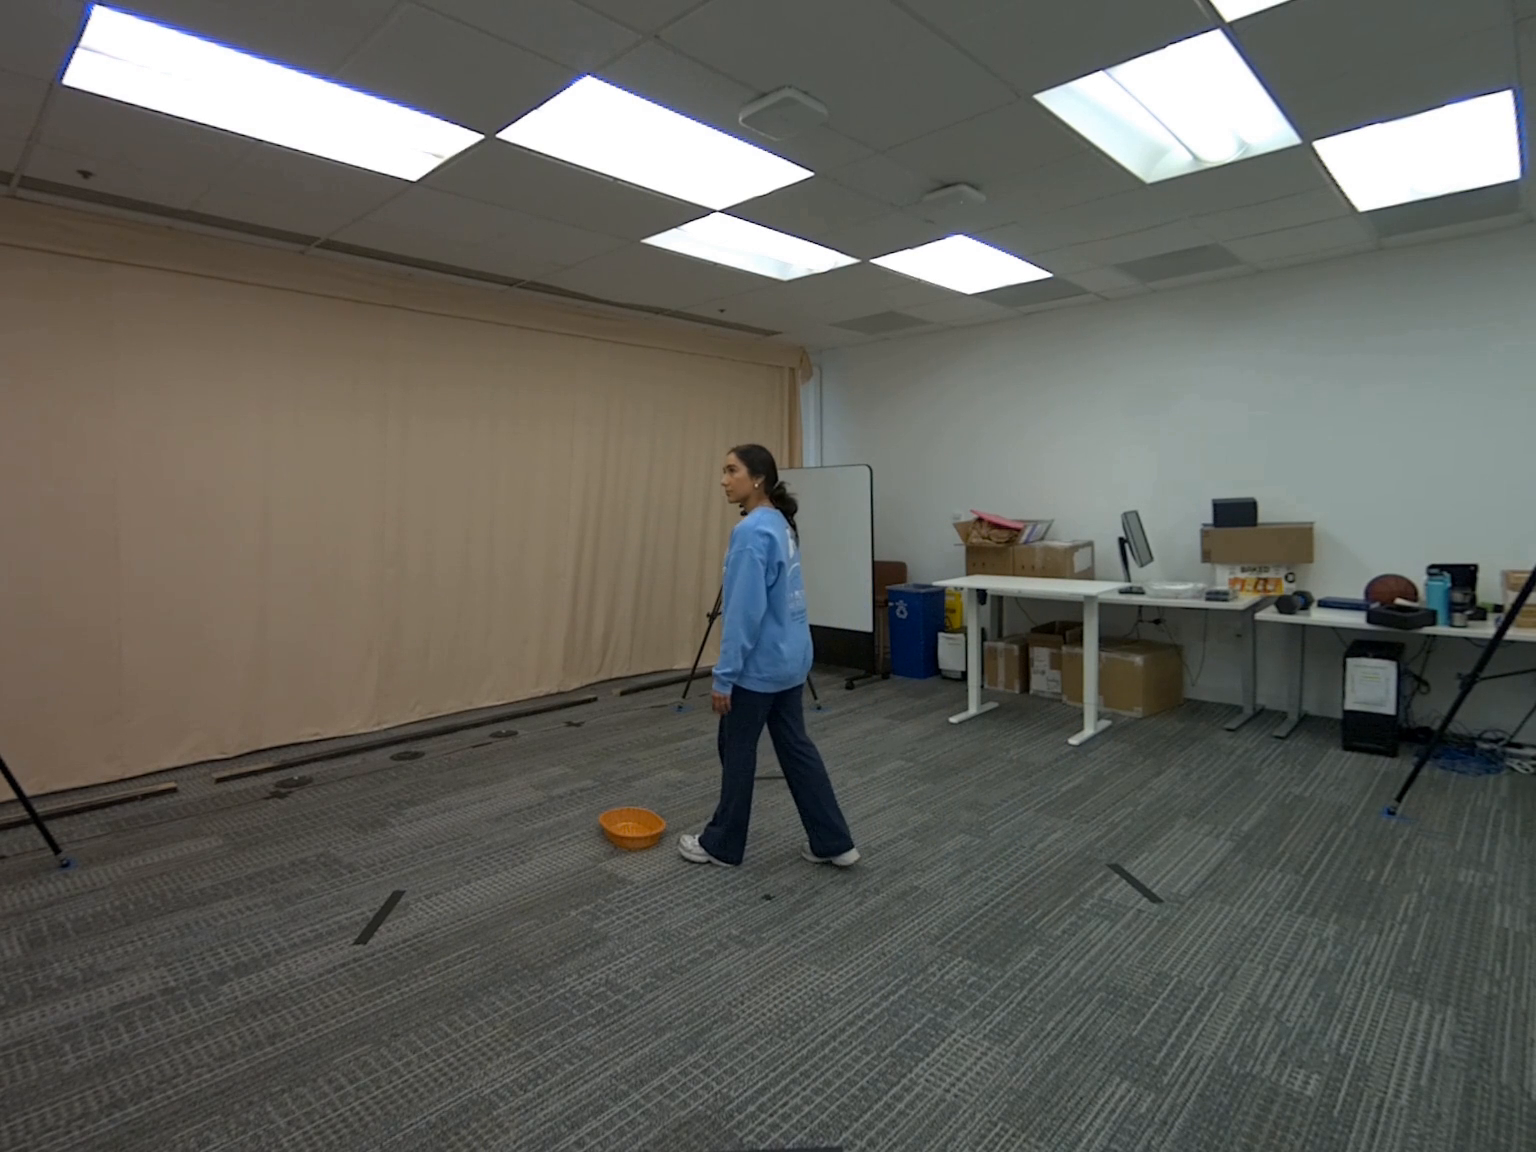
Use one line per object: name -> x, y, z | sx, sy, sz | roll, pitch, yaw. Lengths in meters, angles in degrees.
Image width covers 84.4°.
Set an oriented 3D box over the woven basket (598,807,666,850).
woven basket -> -0.573, 1.061, 3.553 | 0.246, 0.073, 0.359 | -2, 5, -25
